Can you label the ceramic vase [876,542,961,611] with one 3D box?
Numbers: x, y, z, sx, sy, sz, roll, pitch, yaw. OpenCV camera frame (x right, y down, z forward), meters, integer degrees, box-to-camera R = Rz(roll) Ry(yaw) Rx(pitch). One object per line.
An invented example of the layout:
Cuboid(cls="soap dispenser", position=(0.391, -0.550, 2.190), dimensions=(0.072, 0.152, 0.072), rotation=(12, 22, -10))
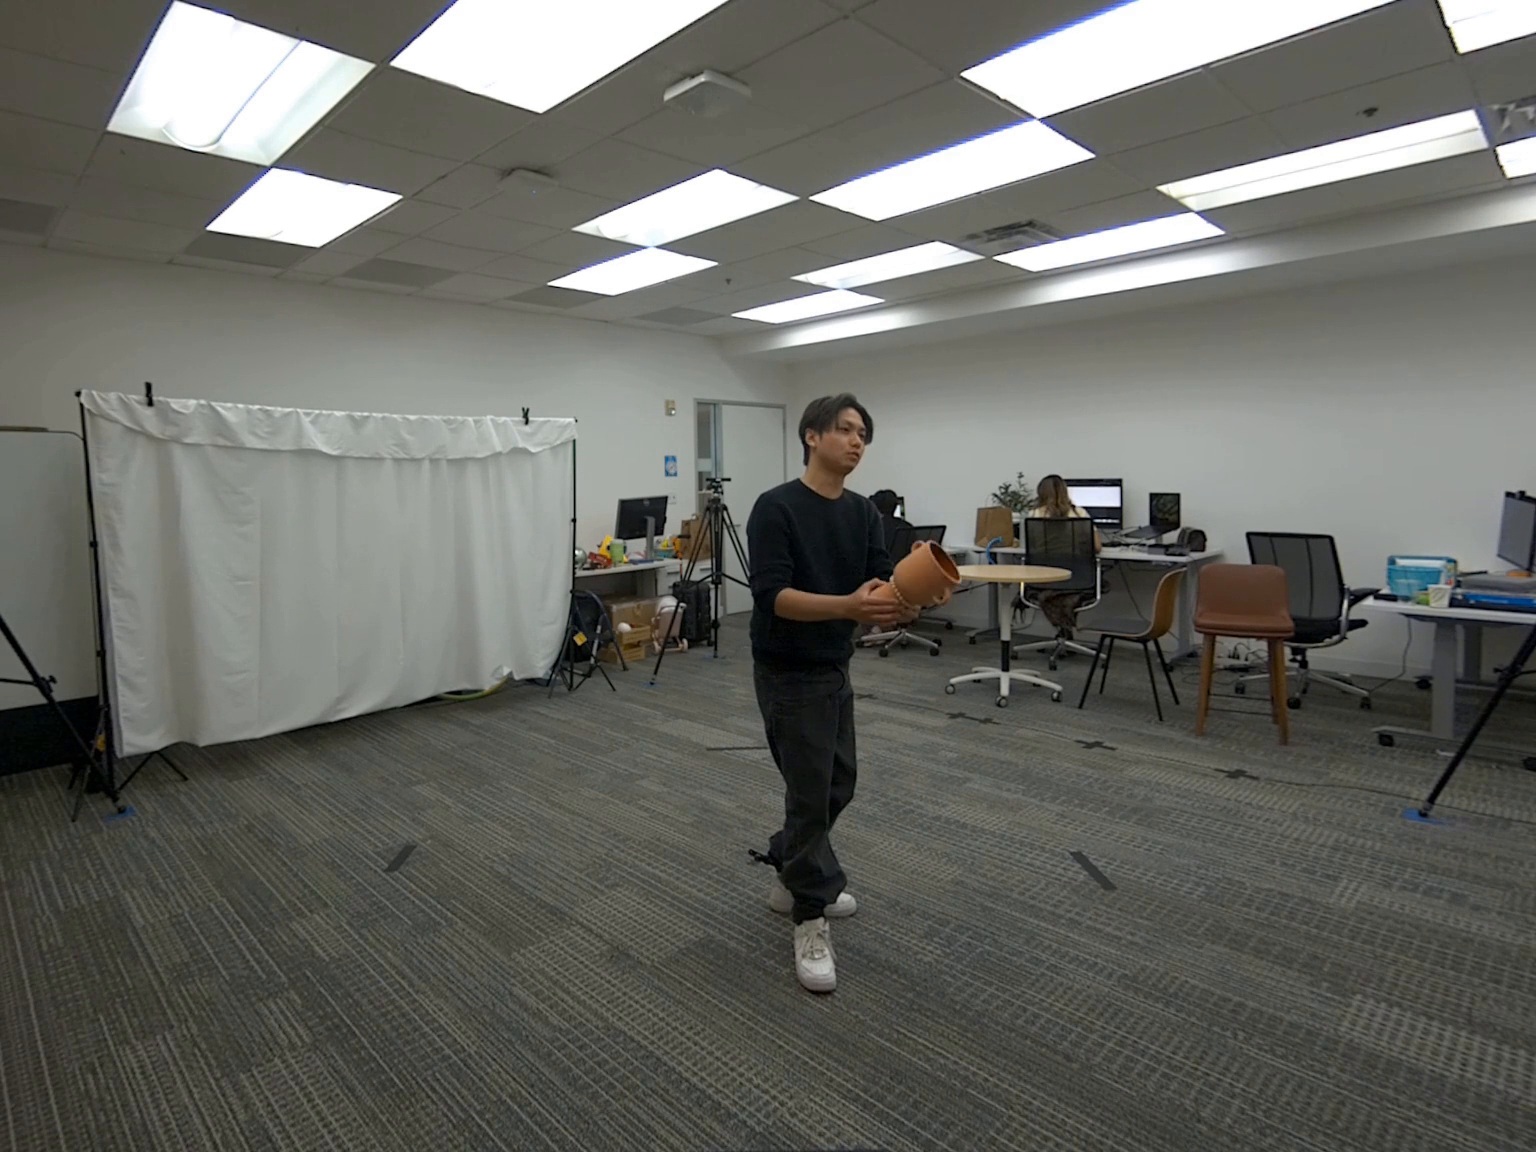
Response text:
Cuboid(cls="ceramic vase", position=(0.373, 0.028, 2.213), dimensions=(0.220, 0.134, 0.159), rotation=(-40, 8, 26))
